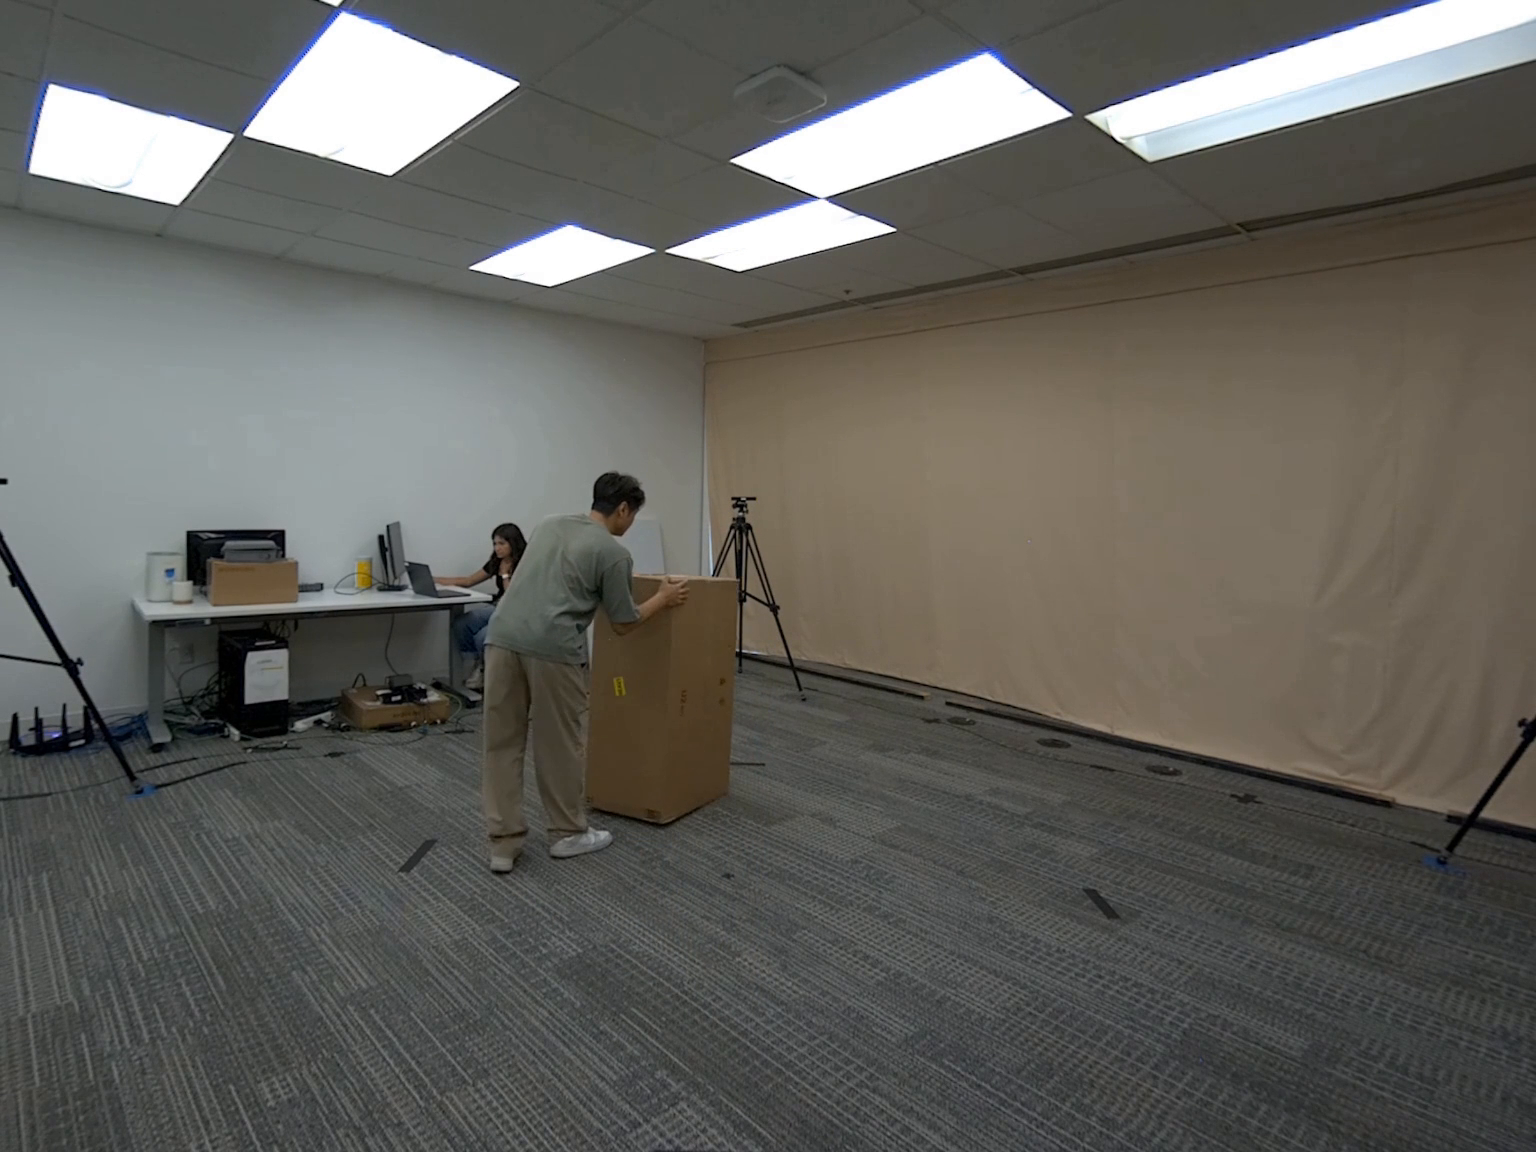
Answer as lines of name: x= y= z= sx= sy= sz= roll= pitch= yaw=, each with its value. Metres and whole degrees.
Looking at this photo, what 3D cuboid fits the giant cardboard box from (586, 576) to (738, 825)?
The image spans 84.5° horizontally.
giant cardboard box: x=-0.482 y=0.515 z=3.868 sx=0.435 sy=1.026 sz=0.565 roll=4 pitch=0 yaw=29
